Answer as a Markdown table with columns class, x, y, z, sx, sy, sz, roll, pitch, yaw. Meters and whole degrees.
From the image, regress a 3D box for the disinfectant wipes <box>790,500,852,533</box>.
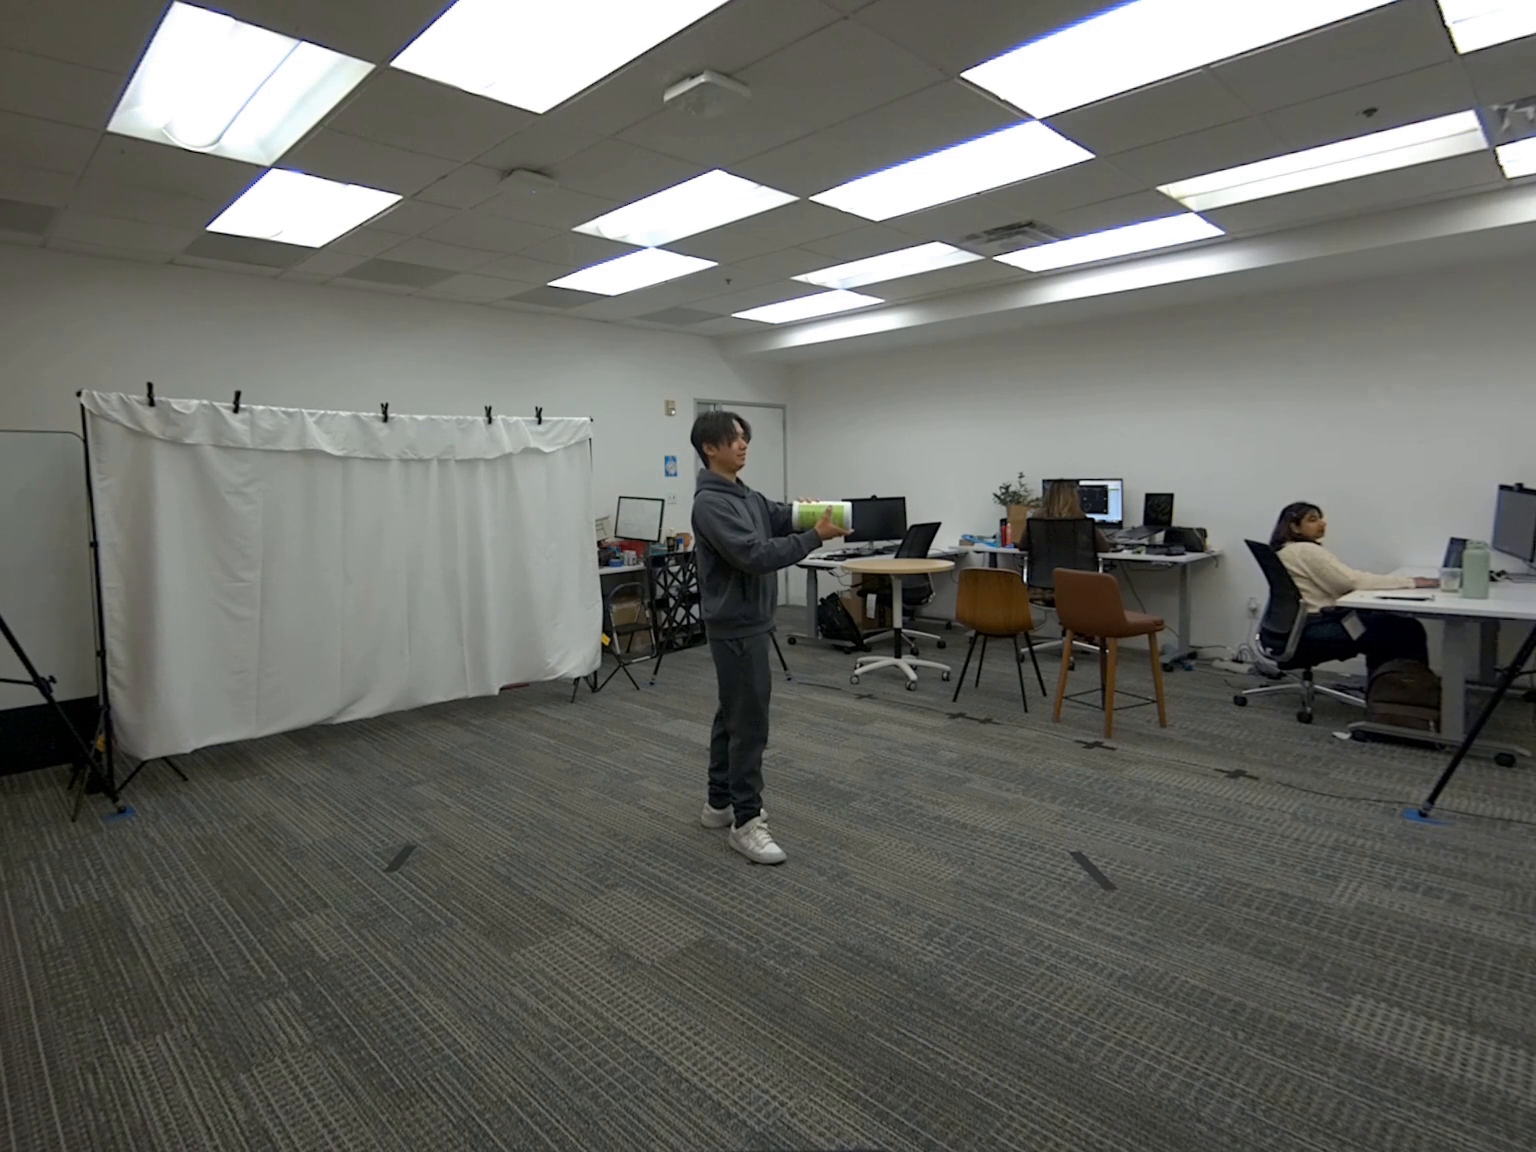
| class | x | y | z | sx | sy | sz | roll | pitch | yaw |
| --- | --- | --- | --- | --- | --- | --- | --- | --- | --- |
| disinfectant wipes | 0.195 | -0.211 | 3.150 | 0.218 | 0.117 | 0.118 | -5 | 4 | 4 |
